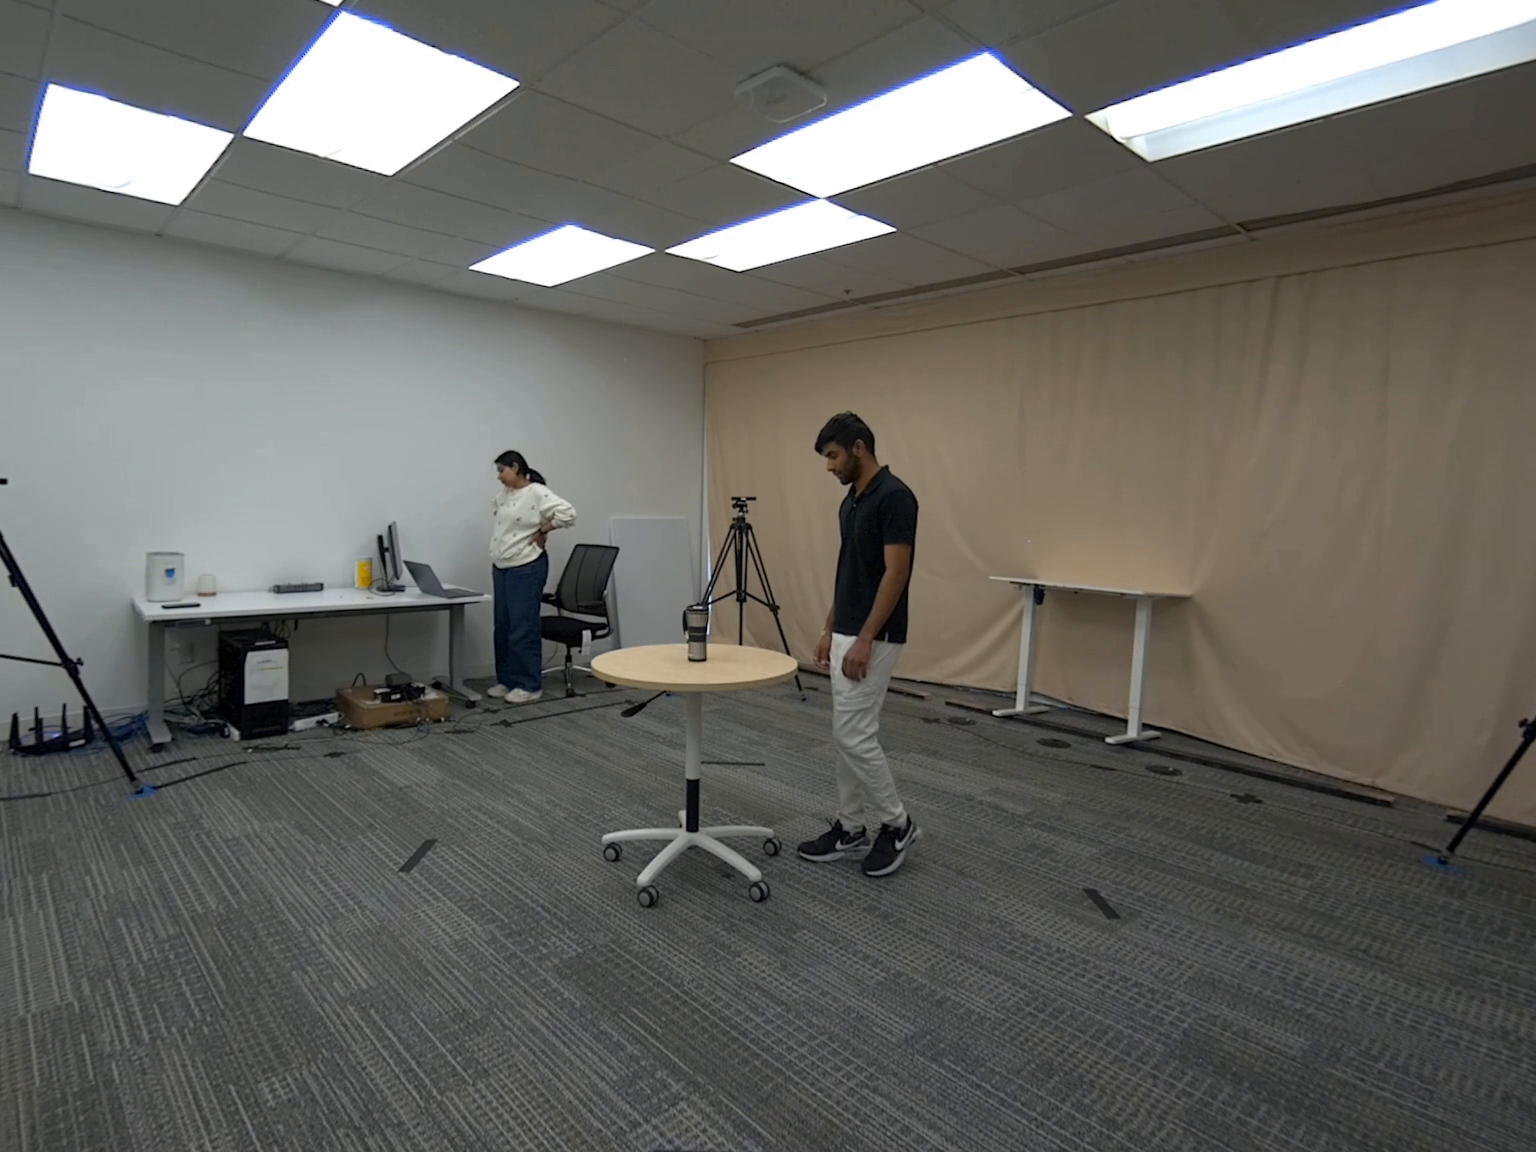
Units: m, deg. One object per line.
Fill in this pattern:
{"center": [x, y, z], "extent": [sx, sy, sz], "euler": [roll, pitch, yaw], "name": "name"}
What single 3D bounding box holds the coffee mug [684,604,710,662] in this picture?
{"center": [-0.254, 0.218, 3.162], "extent": [0.090, 0.203, 0.119], "euler": [-3, 1, 39], "name": "coffee mug"}
